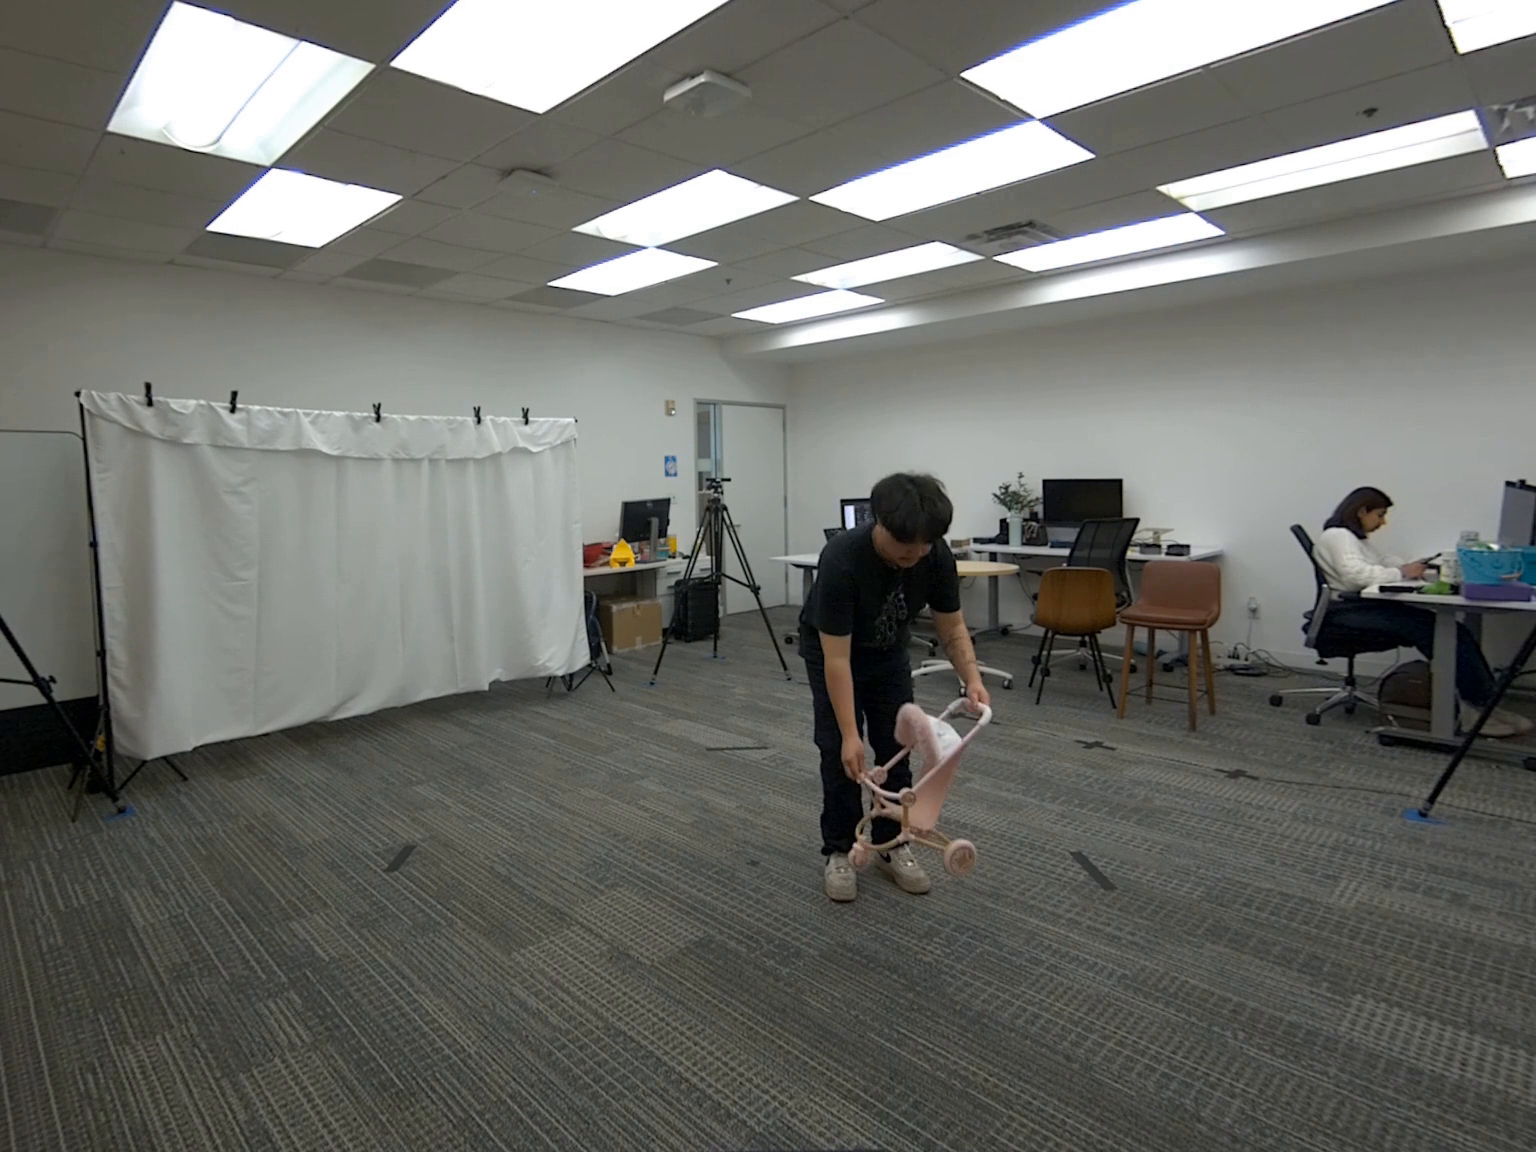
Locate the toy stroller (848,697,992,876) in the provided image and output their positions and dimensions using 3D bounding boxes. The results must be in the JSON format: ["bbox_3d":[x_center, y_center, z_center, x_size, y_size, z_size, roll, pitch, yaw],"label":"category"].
[{"bbox_3d":[0.429,0.619,2.529,0.337,0.534,0.286,10,2,-12],"label":"toy stroller"}]
